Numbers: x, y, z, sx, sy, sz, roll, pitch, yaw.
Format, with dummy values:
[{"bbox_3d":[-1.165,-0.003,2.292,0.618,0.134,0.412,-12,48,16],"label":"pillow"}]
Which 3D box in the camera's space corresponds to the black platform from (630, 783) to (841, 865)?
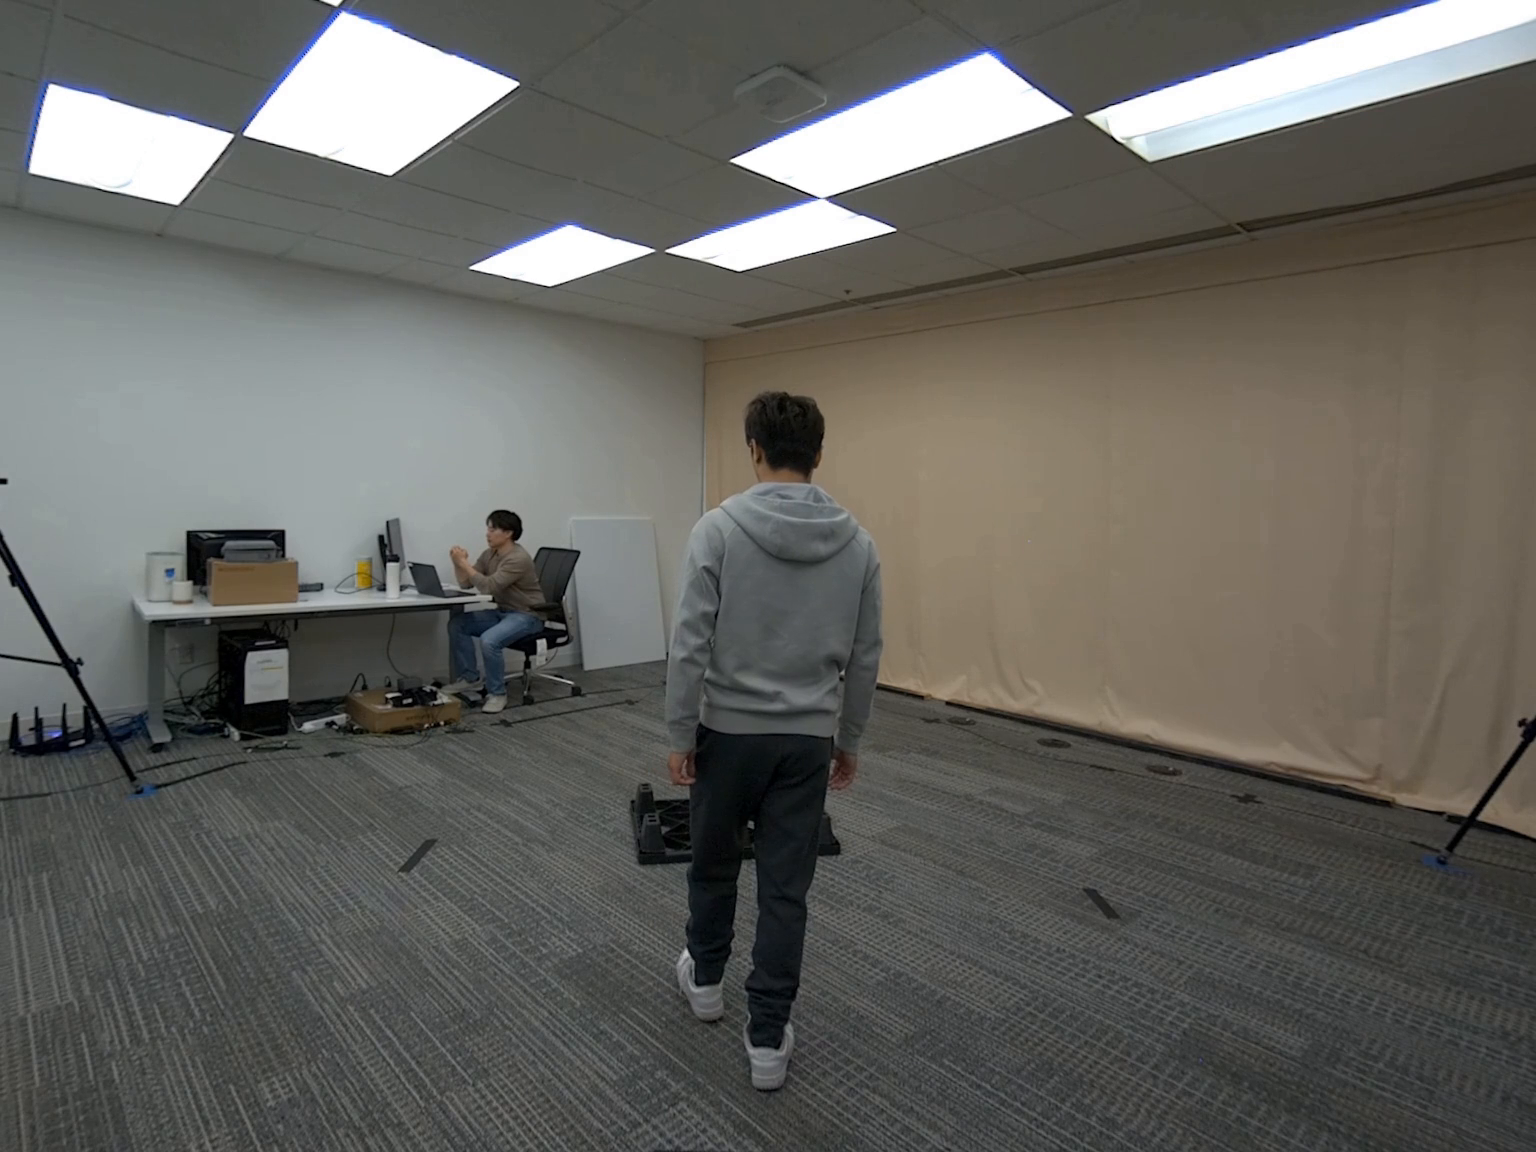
[{"bbox_3d":[-0.170,1.004,3.528,0.798,0.143,0.612,0,5,-12],"label":"black platform"}]
